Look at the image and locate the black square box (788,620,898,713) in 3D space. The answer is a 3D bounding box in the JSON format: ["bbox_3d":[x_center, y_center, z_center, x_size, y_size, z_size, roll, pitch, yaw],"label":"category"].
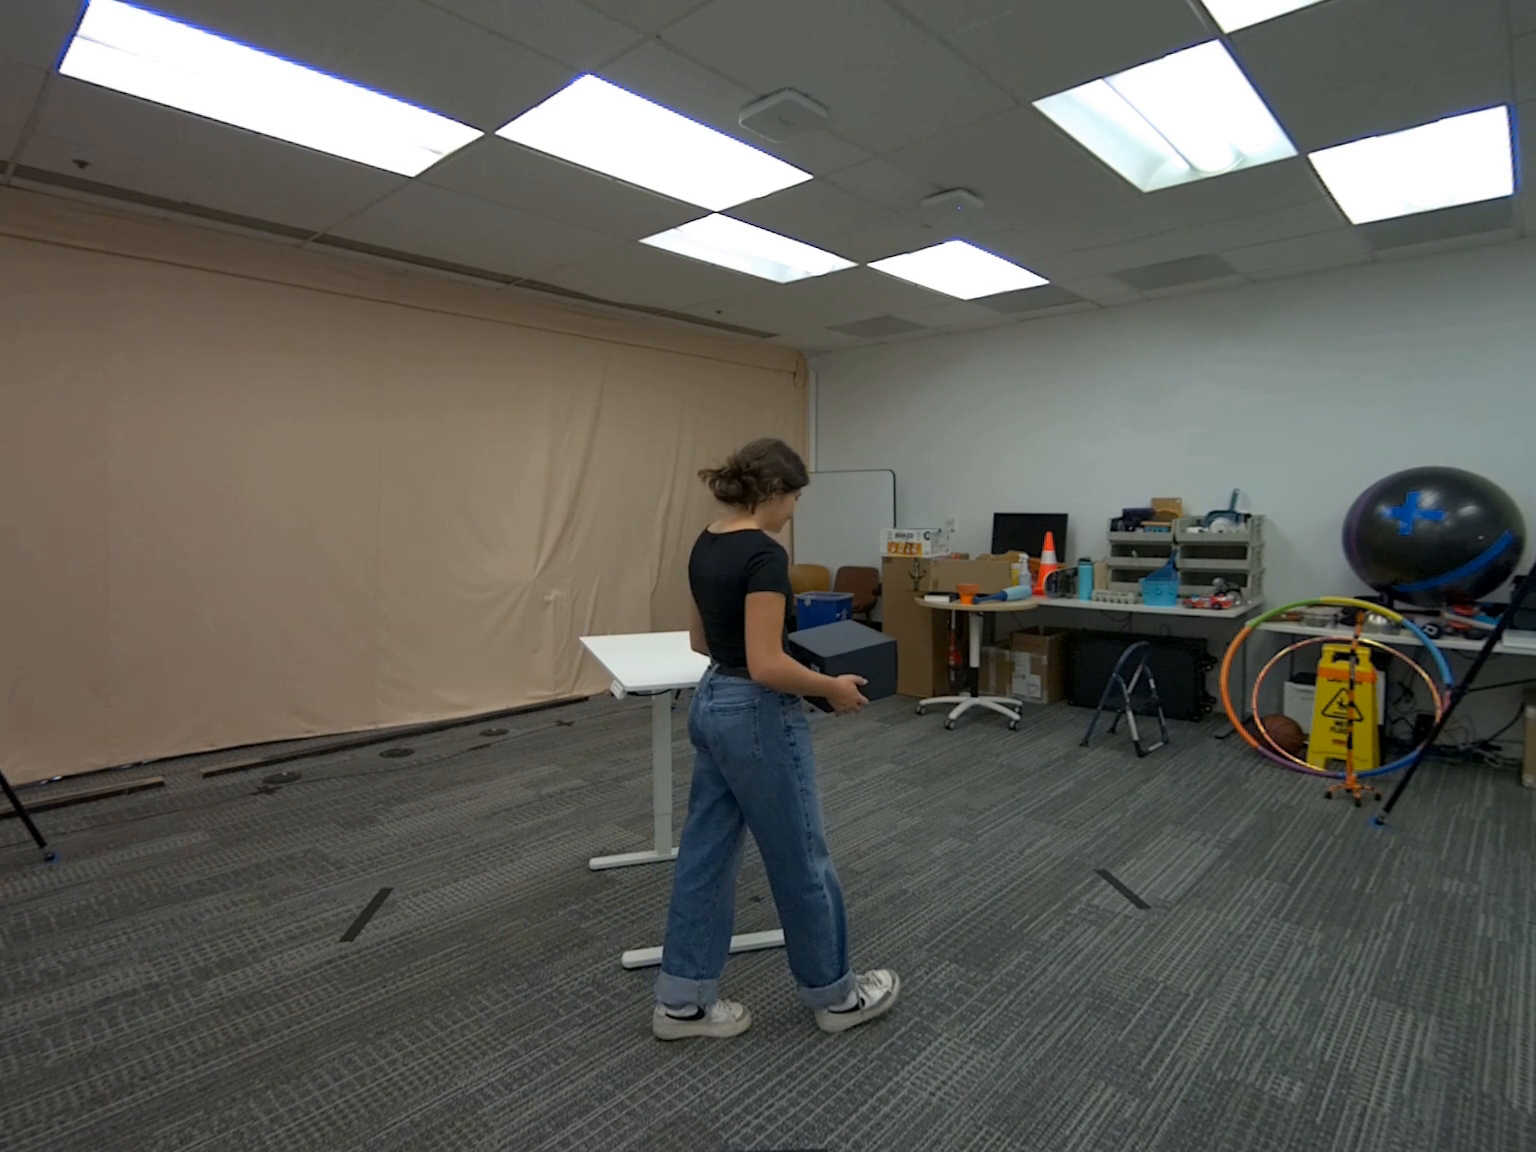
[{"bbox_3d":[0.197,0.233,2.264,0.223,0.154,0.224,-8,14,-26],"label":"black square box"}]
